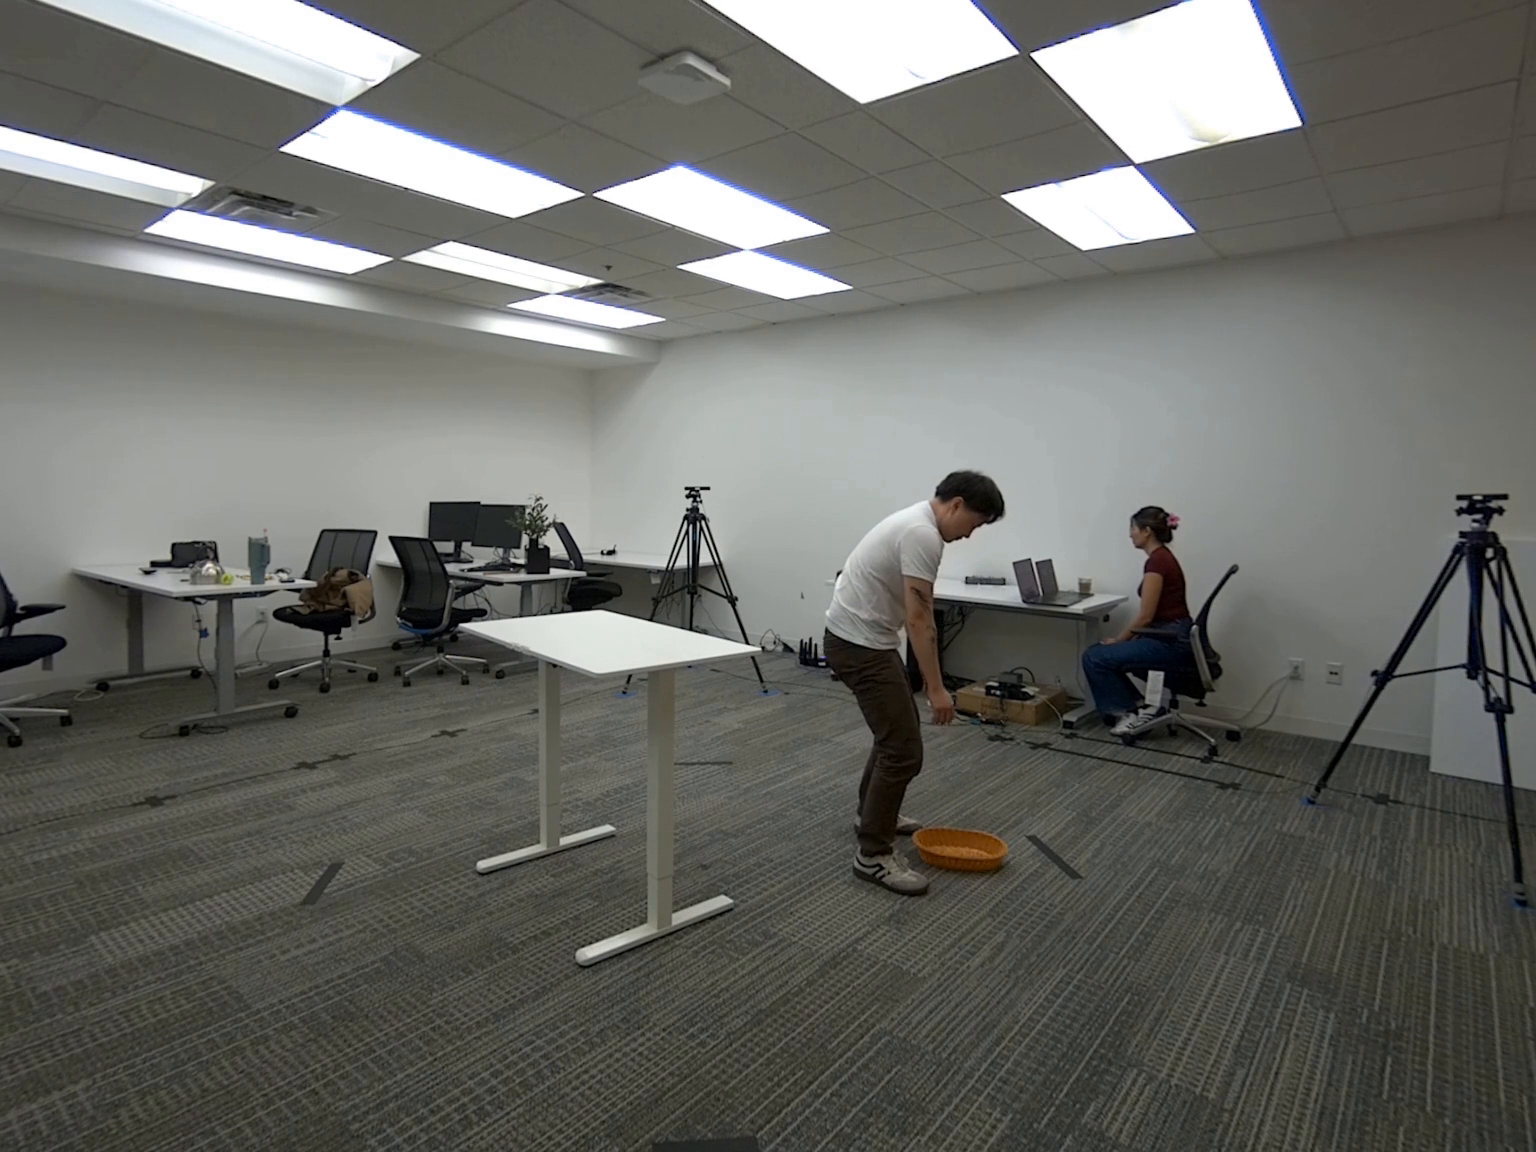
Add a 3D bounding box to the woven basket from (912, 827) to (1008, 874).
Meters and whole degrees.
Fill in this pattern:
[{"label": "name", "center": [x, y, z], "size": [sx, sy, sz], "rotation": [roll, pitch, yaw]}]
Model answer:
[{"label": "woven basket", "center": [0.716, 1.033, 3.218], "size": [0.354, 0.073, 0.251], "rotation": [2, 6, 9]}]
